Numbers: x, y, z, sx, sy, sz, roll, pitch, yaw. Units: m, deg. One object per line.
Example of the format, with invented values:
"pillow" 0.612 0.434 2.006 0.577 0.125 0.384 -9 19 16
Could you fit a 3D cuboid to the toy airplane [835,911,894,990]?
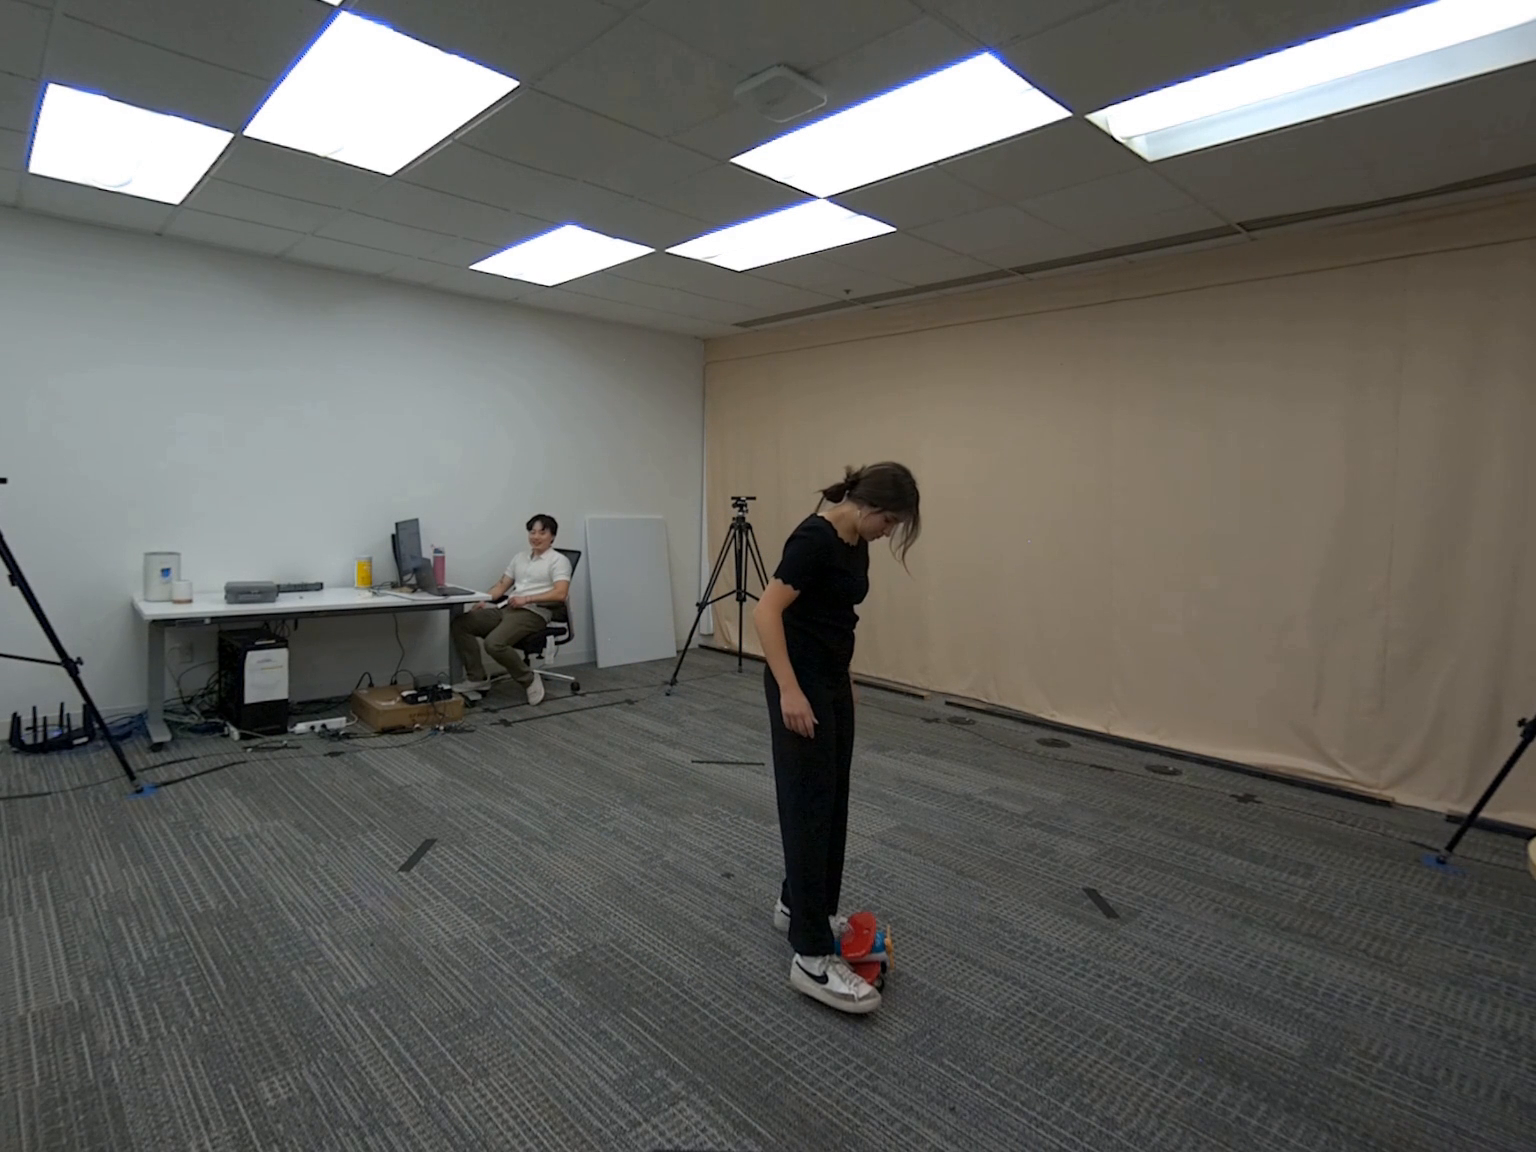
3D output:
"toy airplane" 0.224 1.099 2.431 0.256 0.156 0.255 2 4 -16
